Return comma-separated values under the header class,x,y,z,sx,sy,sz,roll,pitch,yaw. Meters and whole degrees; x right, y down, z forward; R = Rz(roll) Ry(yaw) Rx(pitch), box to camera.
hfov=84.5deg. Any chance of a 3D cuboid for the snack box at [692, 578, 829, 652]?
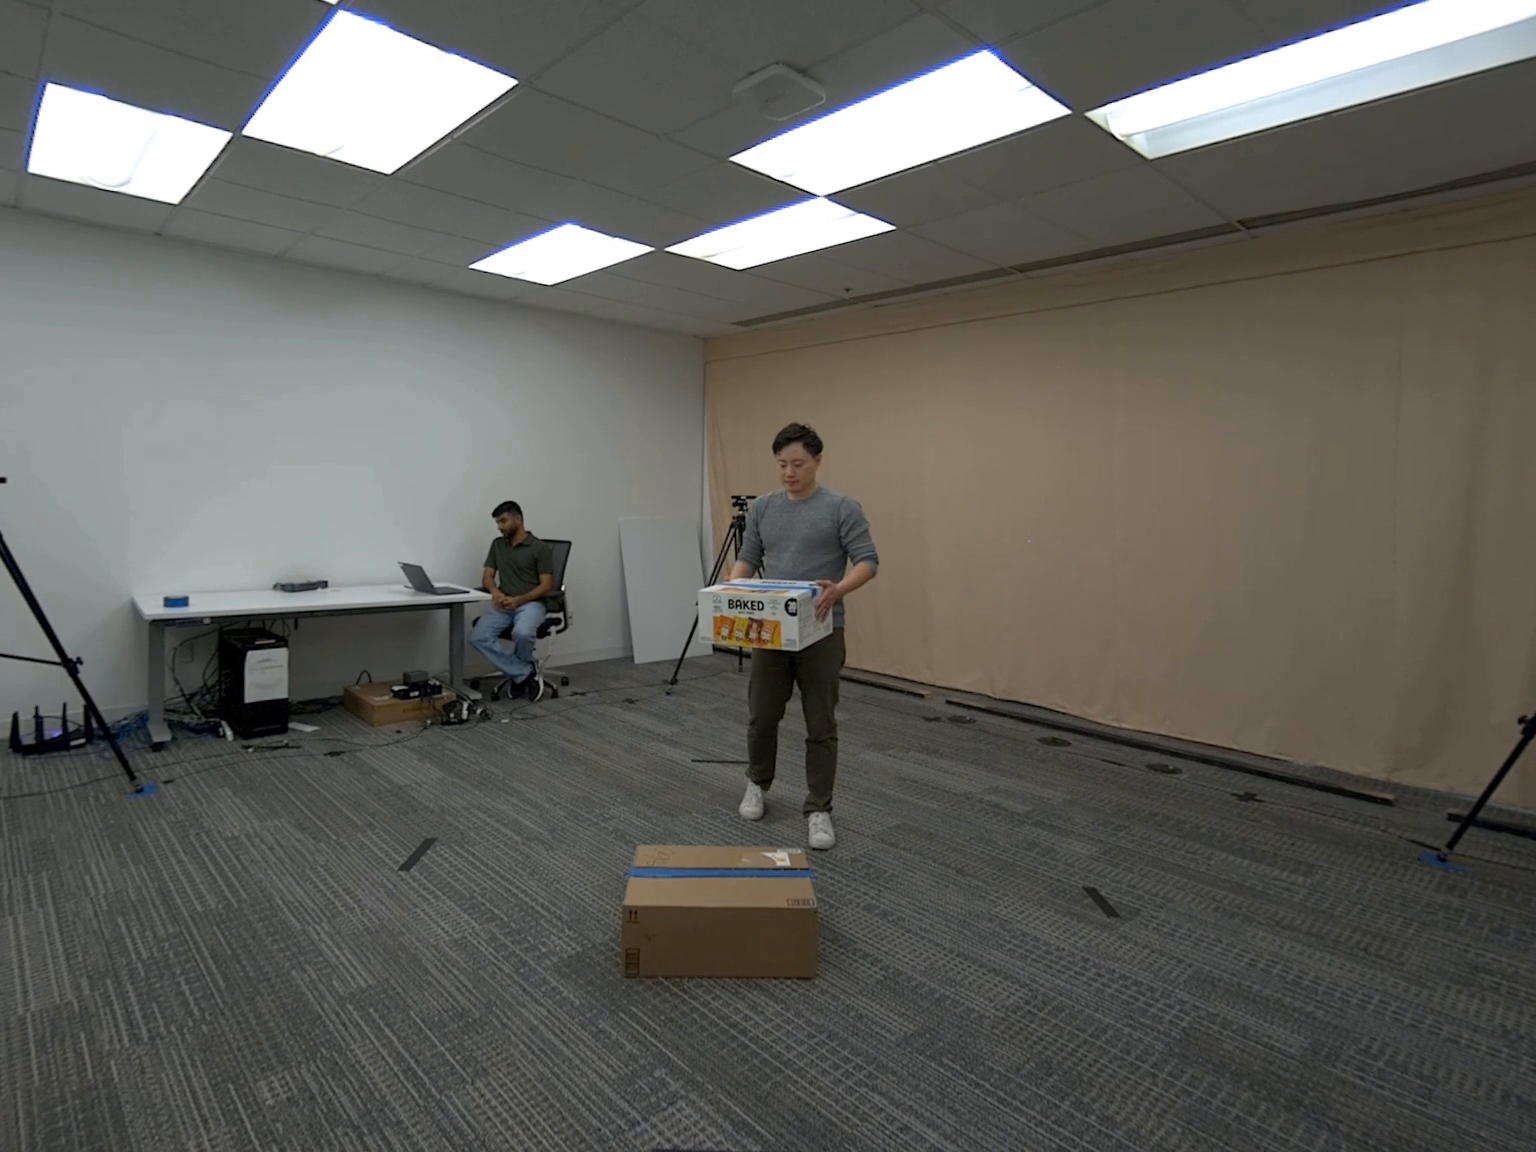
class,x,y,z,sx,sy,sz,roll,pitch,yaw
snack box,-0.026,0.142,3.215,0.413,0.204,0.335,4,9,27
